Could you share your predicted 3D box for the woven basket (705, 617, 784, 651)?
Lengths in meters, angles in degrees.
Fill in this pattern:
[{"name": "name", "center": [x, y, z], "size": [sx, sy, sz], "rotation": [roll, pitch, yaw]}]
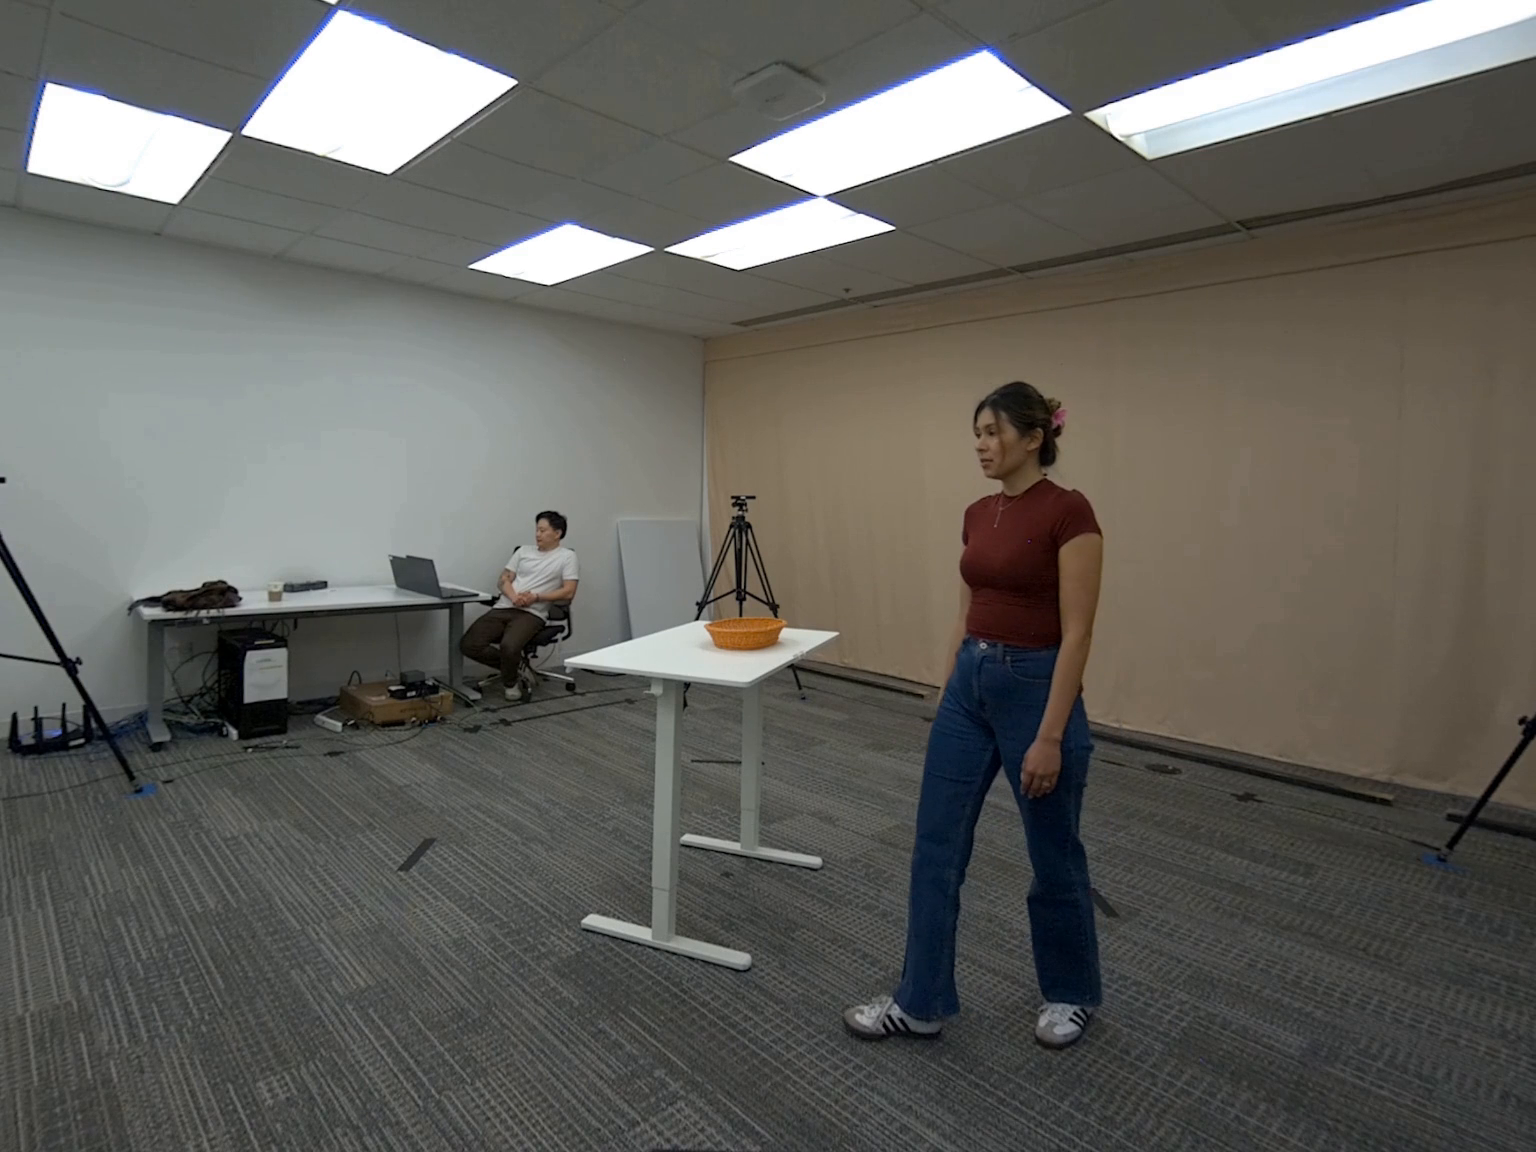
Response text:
[{"name": "woven basket", "center": [-0.082, 0.209, 2.932], "size": [0.257, 0.073, 0.345], "rotation": [2, 5, 24]}]
